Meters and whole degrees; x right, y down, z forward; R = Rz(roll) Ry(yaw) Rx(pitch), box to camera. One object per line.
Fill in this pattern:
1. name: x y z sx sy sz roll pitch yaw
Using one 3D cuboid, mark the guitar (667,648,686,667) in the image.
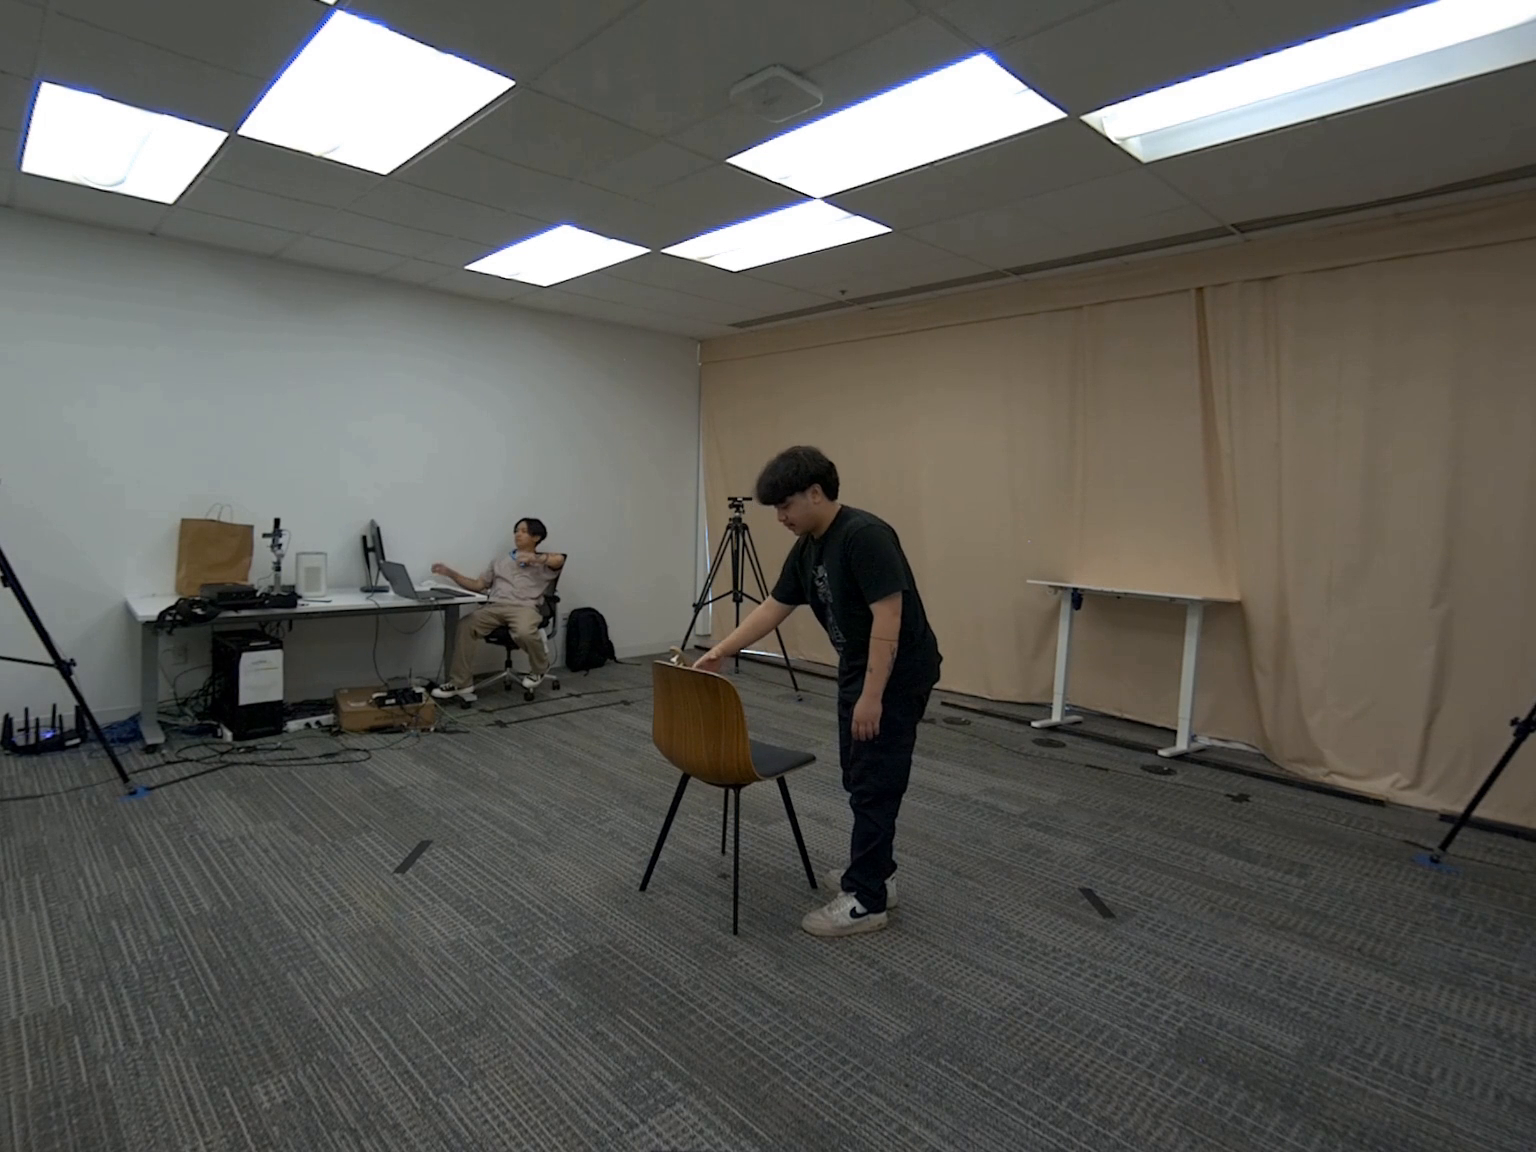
1. guitar: -0.249 0.437 2.895 0.197 0.486 0.071 0 38 49
